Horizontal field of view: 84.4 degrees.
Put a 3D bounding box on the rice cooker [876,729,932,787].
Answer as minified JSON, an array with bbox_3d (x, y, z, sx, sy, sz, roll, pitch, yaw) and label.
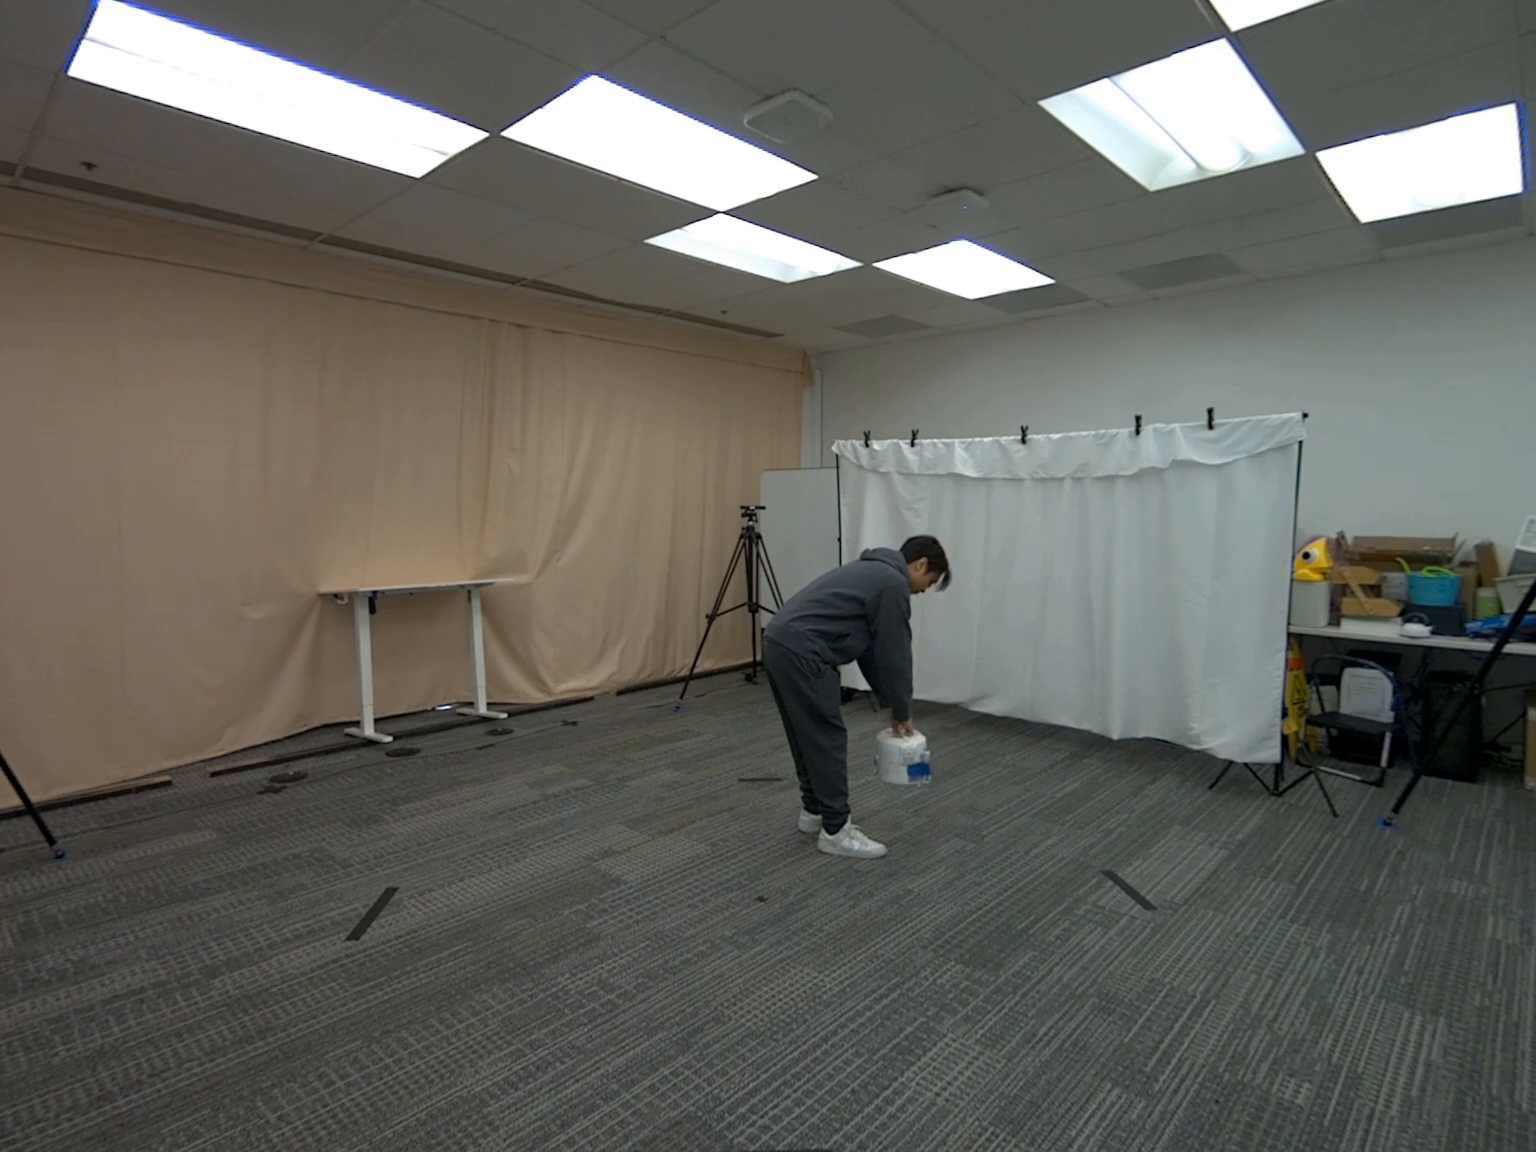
[{"bbox_3d":[0.562,0.750,3.544,0.216,0.232,0.223,-2,7,-6],"label":"rice cooker"}]
